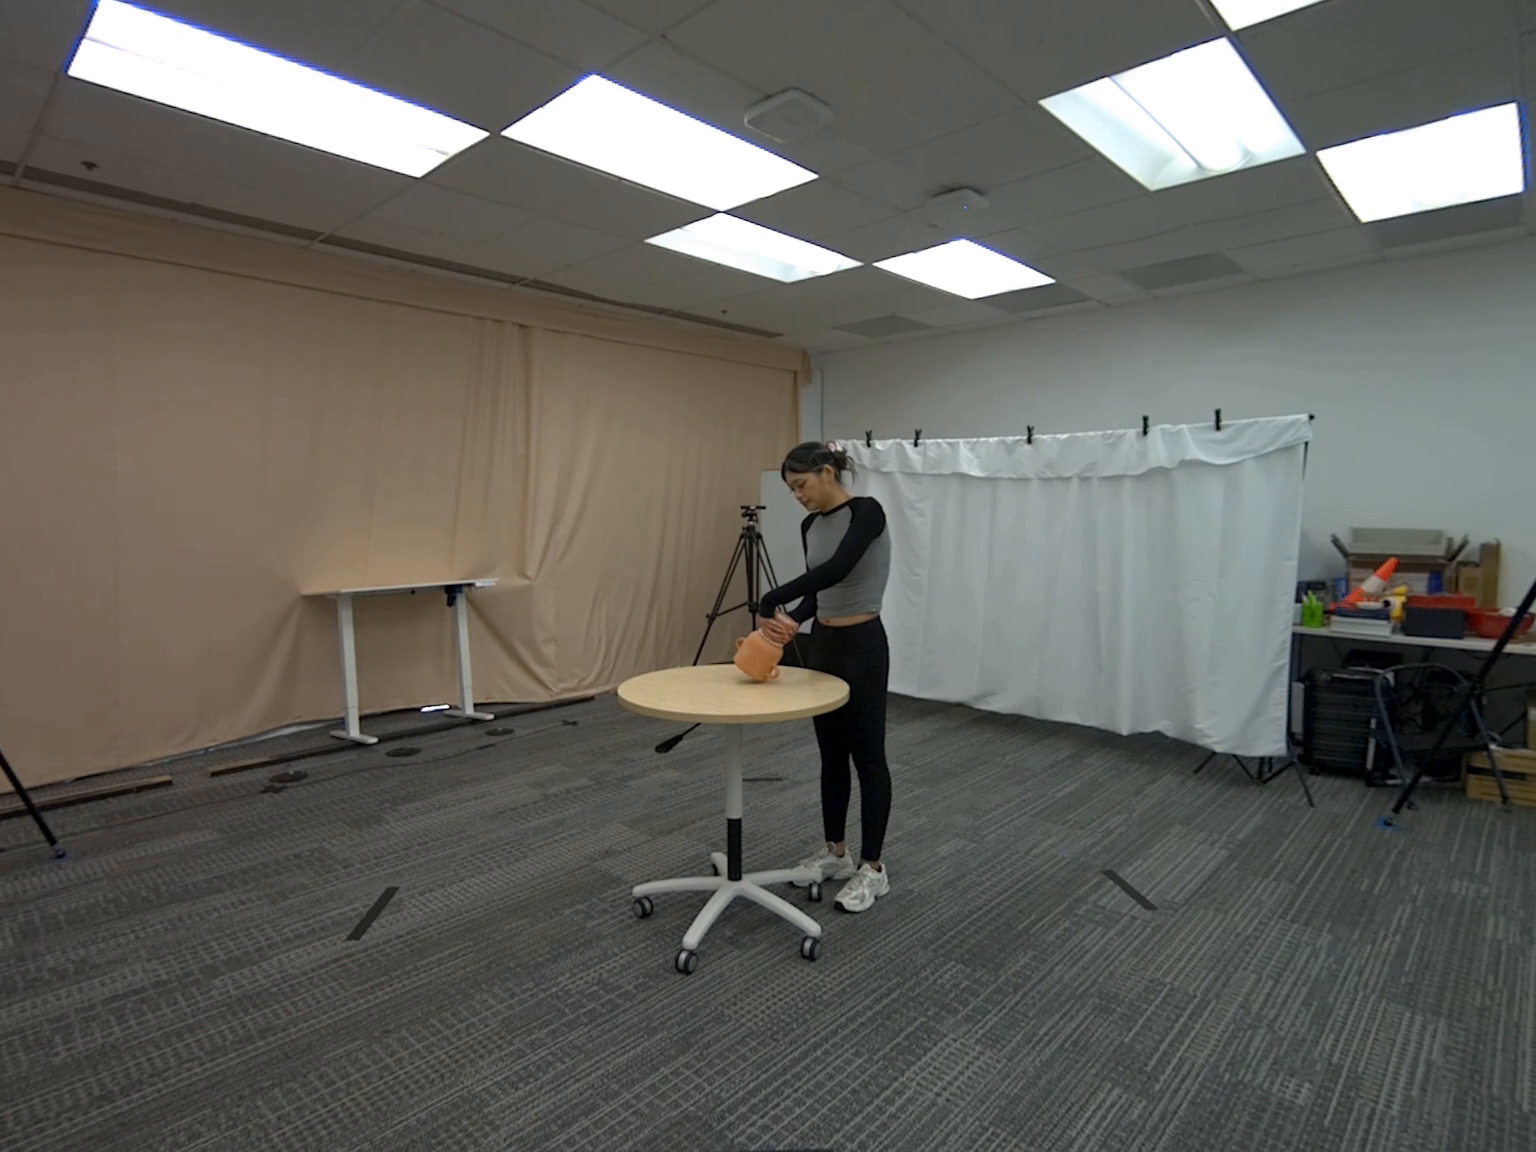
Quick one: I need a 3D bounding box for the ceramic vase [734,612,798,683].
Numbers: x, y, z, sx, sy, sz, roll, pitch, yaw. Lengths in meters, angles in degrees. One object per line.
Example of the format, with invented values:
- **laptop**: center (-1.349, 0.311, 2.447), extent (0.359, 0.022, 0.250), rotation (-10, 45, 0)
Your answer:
- **ceramic vase**: center (0.001, 0.230, 2.842), extent (0.157, 0.220, 0.136), rotation (30, 13, -9)
